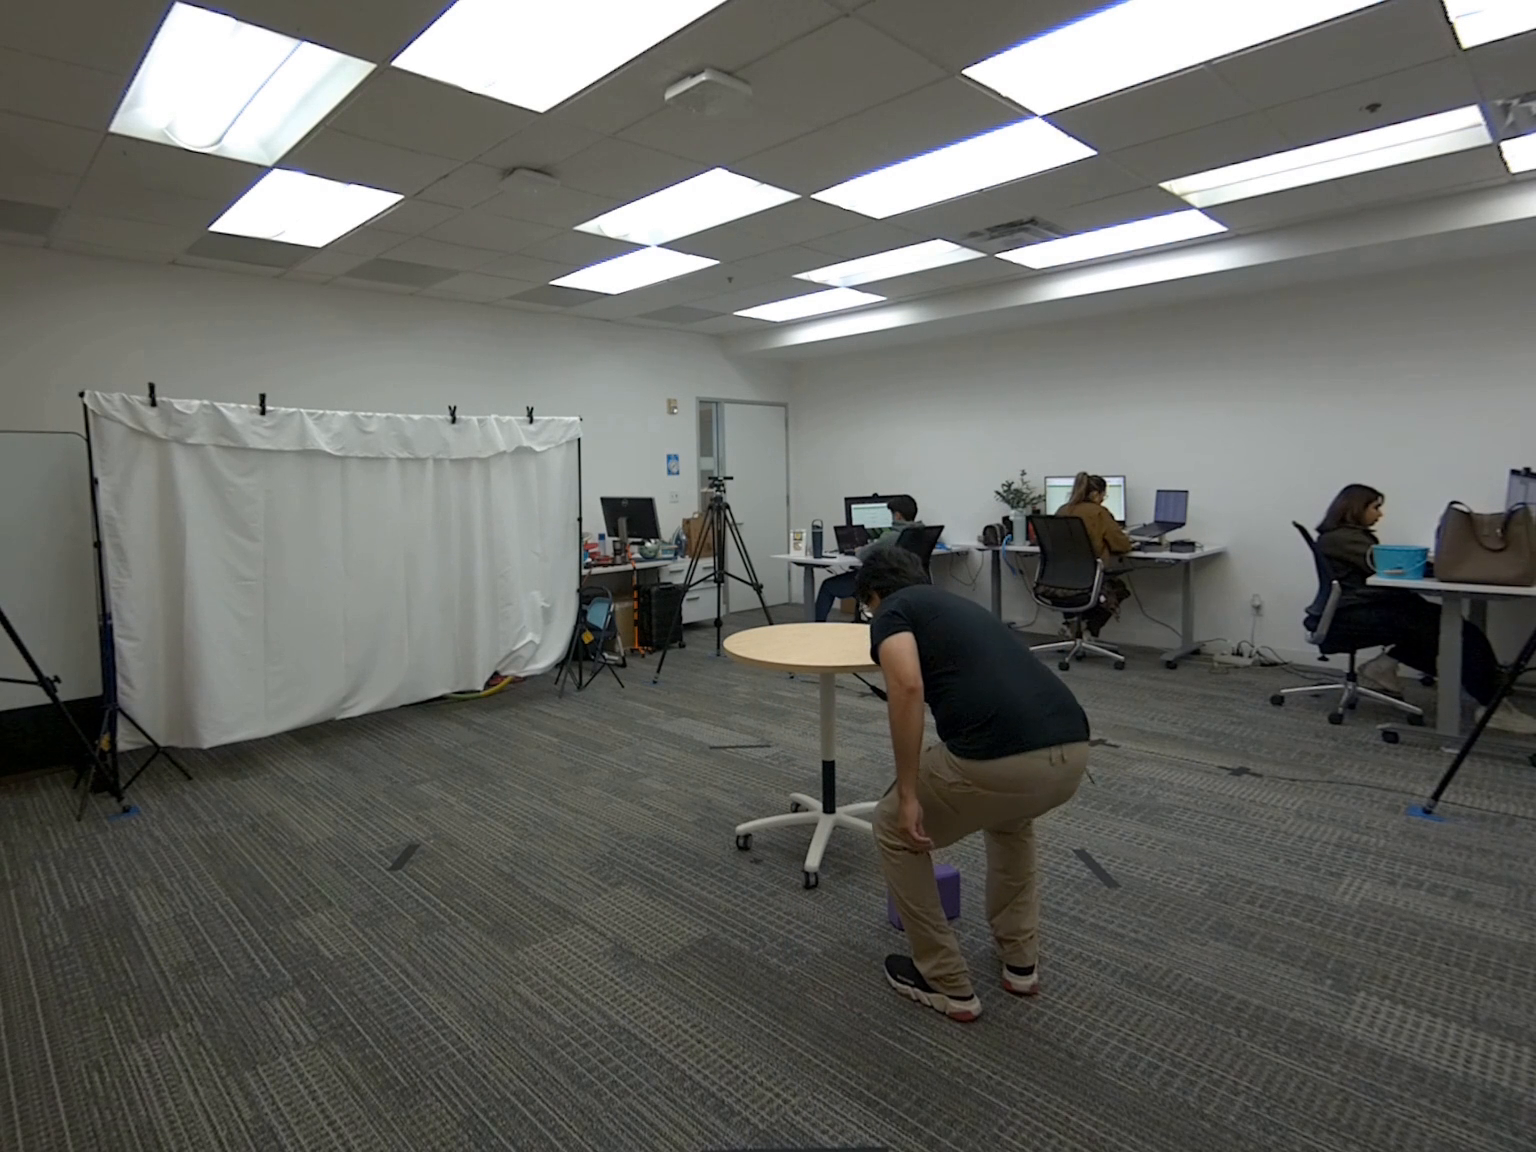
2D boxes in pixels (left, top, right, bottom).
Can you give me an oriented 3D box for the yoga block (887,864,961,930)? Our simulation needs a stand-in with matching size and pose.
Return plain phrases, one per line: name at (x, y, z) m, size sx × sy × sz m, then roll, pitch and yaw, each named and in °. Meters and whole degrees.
yoga block at (0.501, 1.004, 2.669) m, size 0.225 × 0.149 × 0.078 m, roll -3°, pitch 3°, yaw -21°
